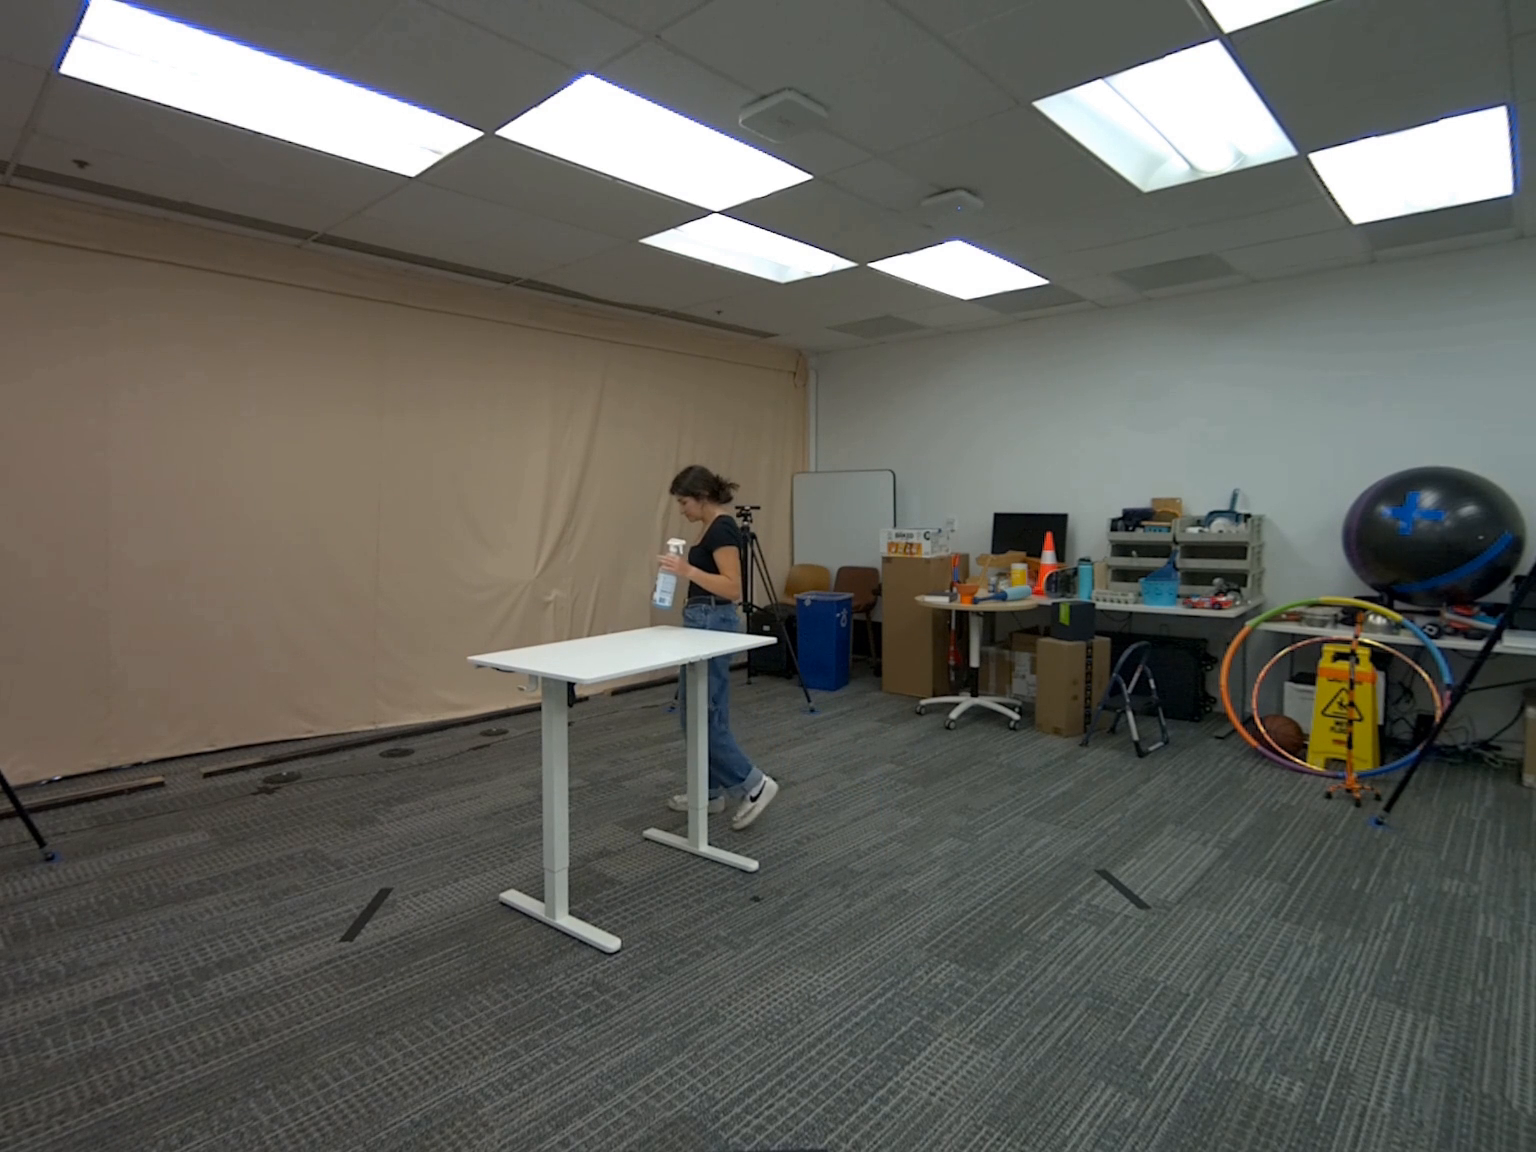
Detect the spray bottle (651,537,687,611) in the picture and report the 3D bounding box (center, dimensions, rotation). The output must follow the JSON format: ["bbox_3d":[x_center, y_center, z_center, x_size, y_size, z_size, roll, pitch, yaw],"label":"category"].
[{"bbox_3d":[-0.416,-0.010,3.530,0.084,0.297,0.093,10,7,-31],"label":"spray bottle"}]
